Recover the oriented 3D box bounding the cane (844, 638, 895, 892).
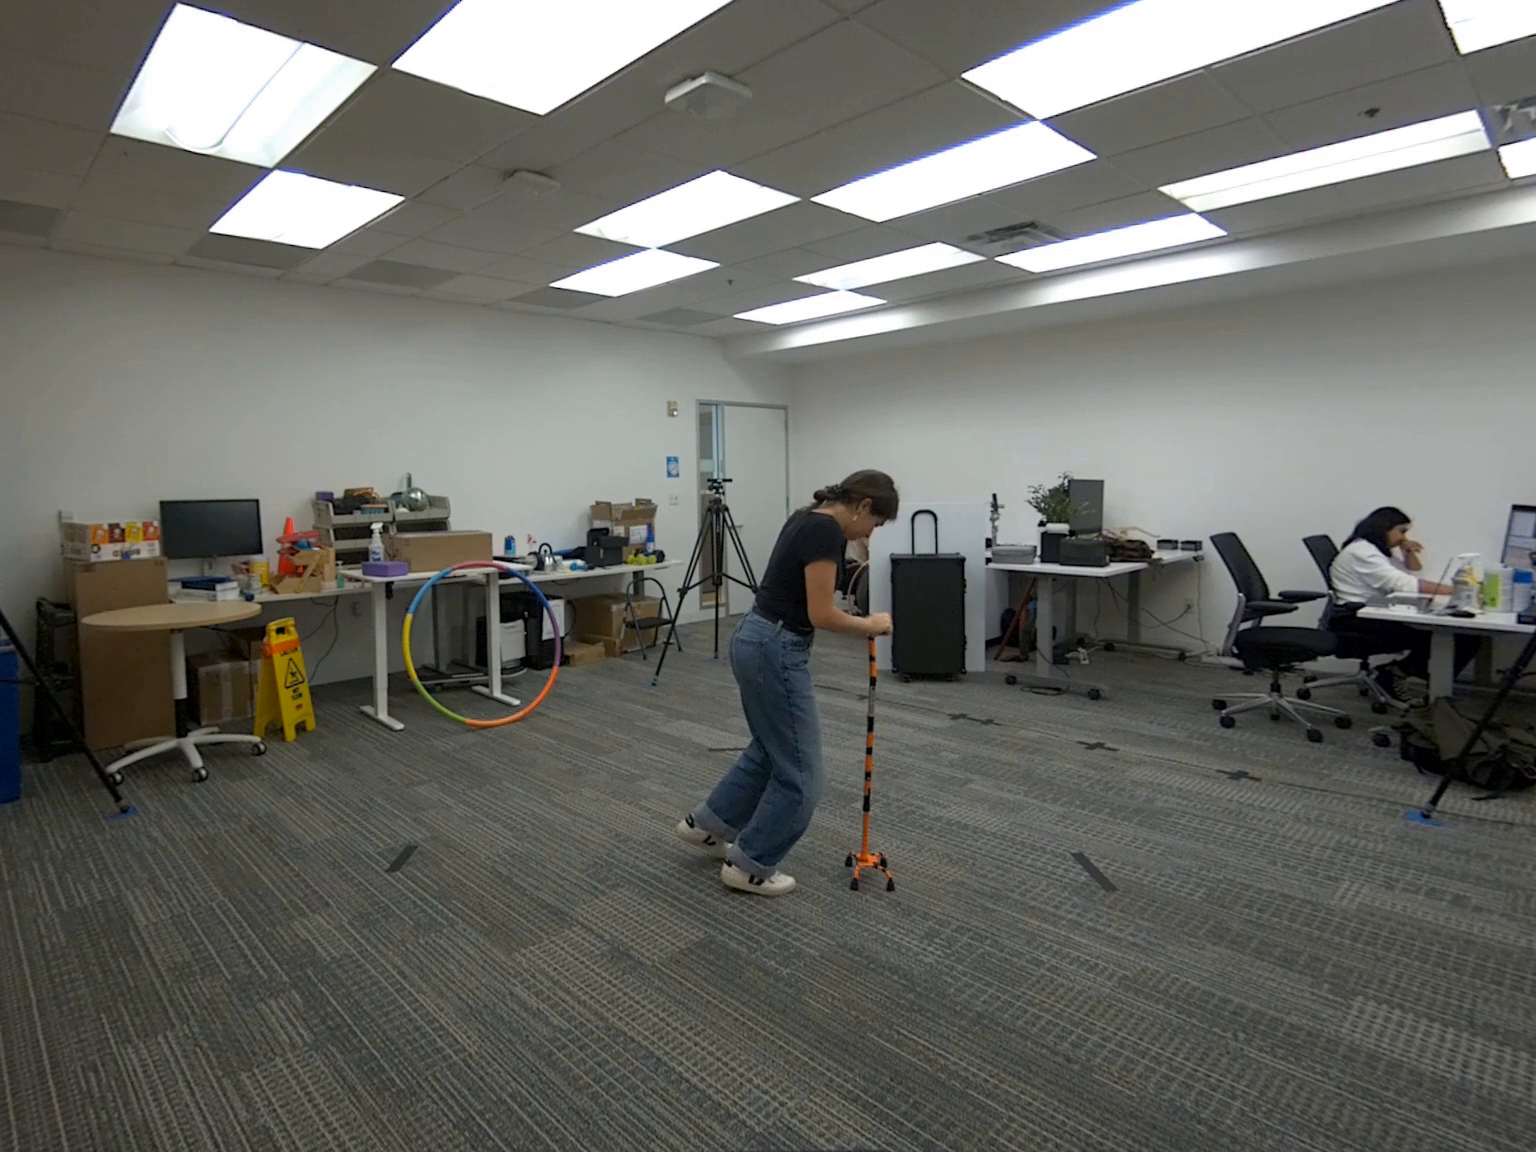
[{"bbox_3d":[0.362,0.591,2.954,0.152,0.905,0.207,1,3,1],"label":"cane"}]
